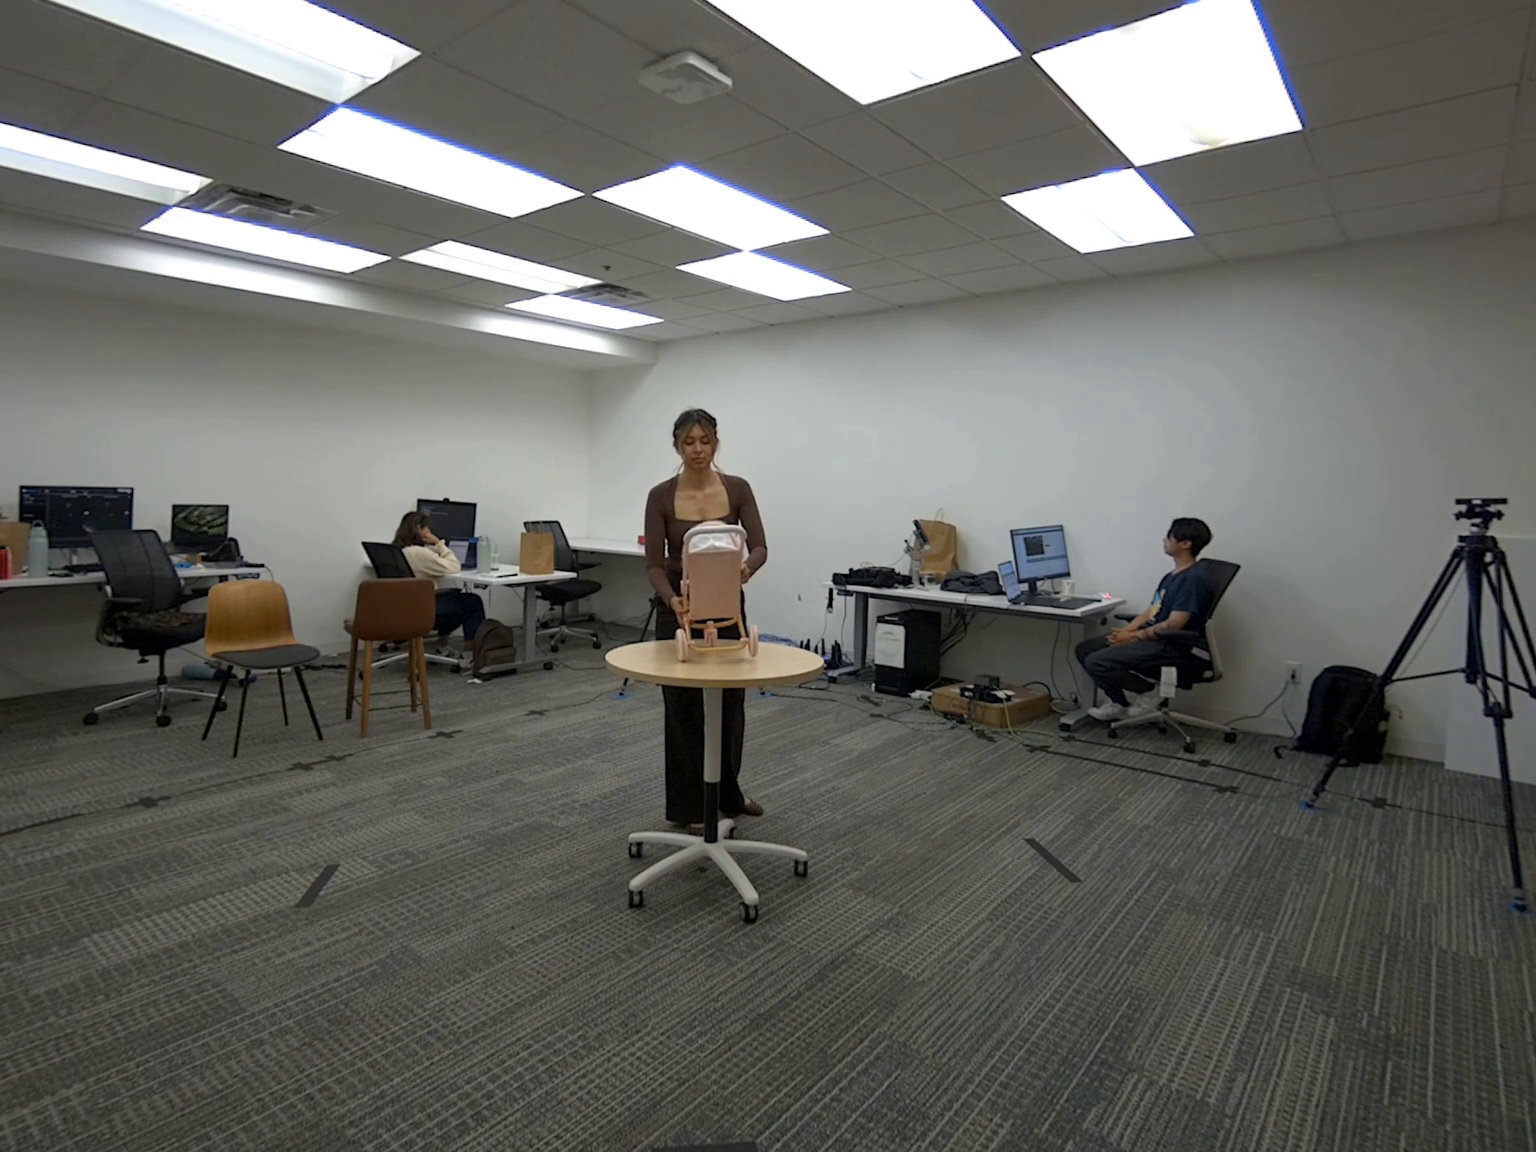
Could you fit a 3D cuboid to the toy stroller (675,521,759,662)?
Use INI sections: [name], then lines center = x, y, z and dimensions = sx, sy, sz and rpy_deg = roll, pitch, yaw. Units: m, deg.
[toy stroller]
center = -0.205, 0.046, 2.984
dimensions = 0.280, 0.527, 0.347
rpy_deg = -2, 15, -4
